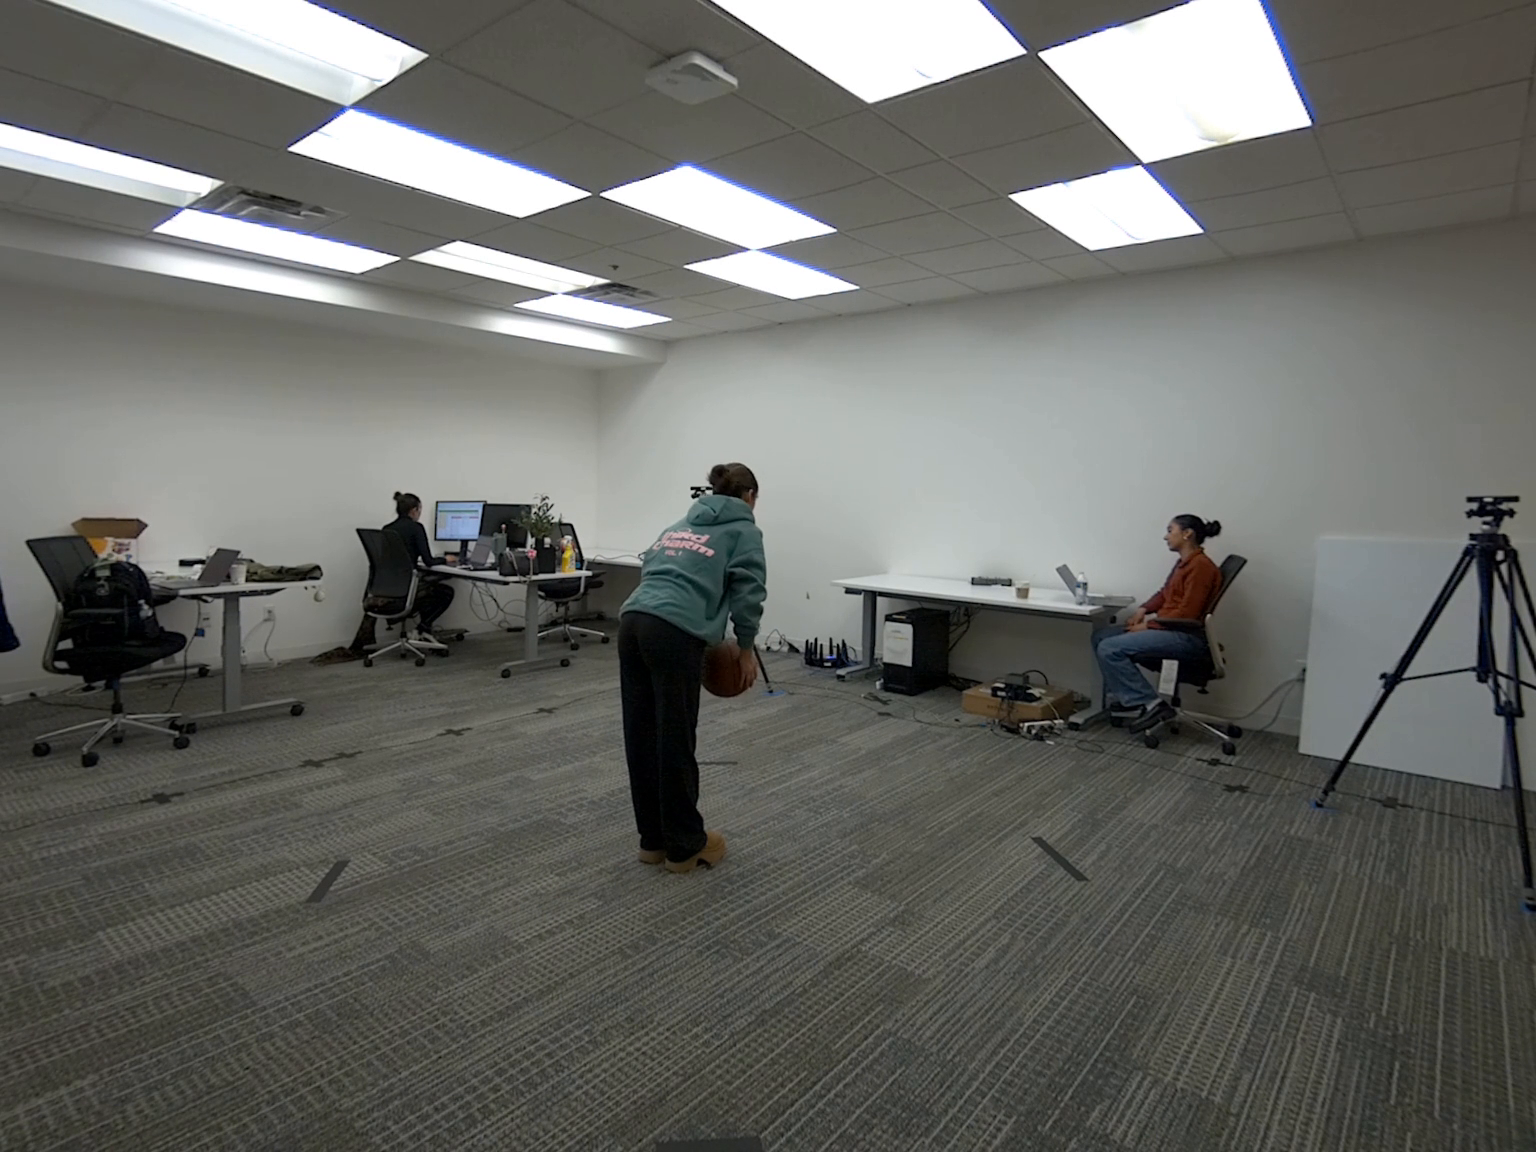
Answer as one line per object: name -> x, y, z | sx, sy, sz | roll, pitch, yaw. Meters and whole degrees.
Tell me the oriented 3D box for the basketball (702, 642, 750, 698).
basketball -> -0.175, 0.362, 3.381 | 0.235, 0.235, 0.237 | 1, 4, -2
